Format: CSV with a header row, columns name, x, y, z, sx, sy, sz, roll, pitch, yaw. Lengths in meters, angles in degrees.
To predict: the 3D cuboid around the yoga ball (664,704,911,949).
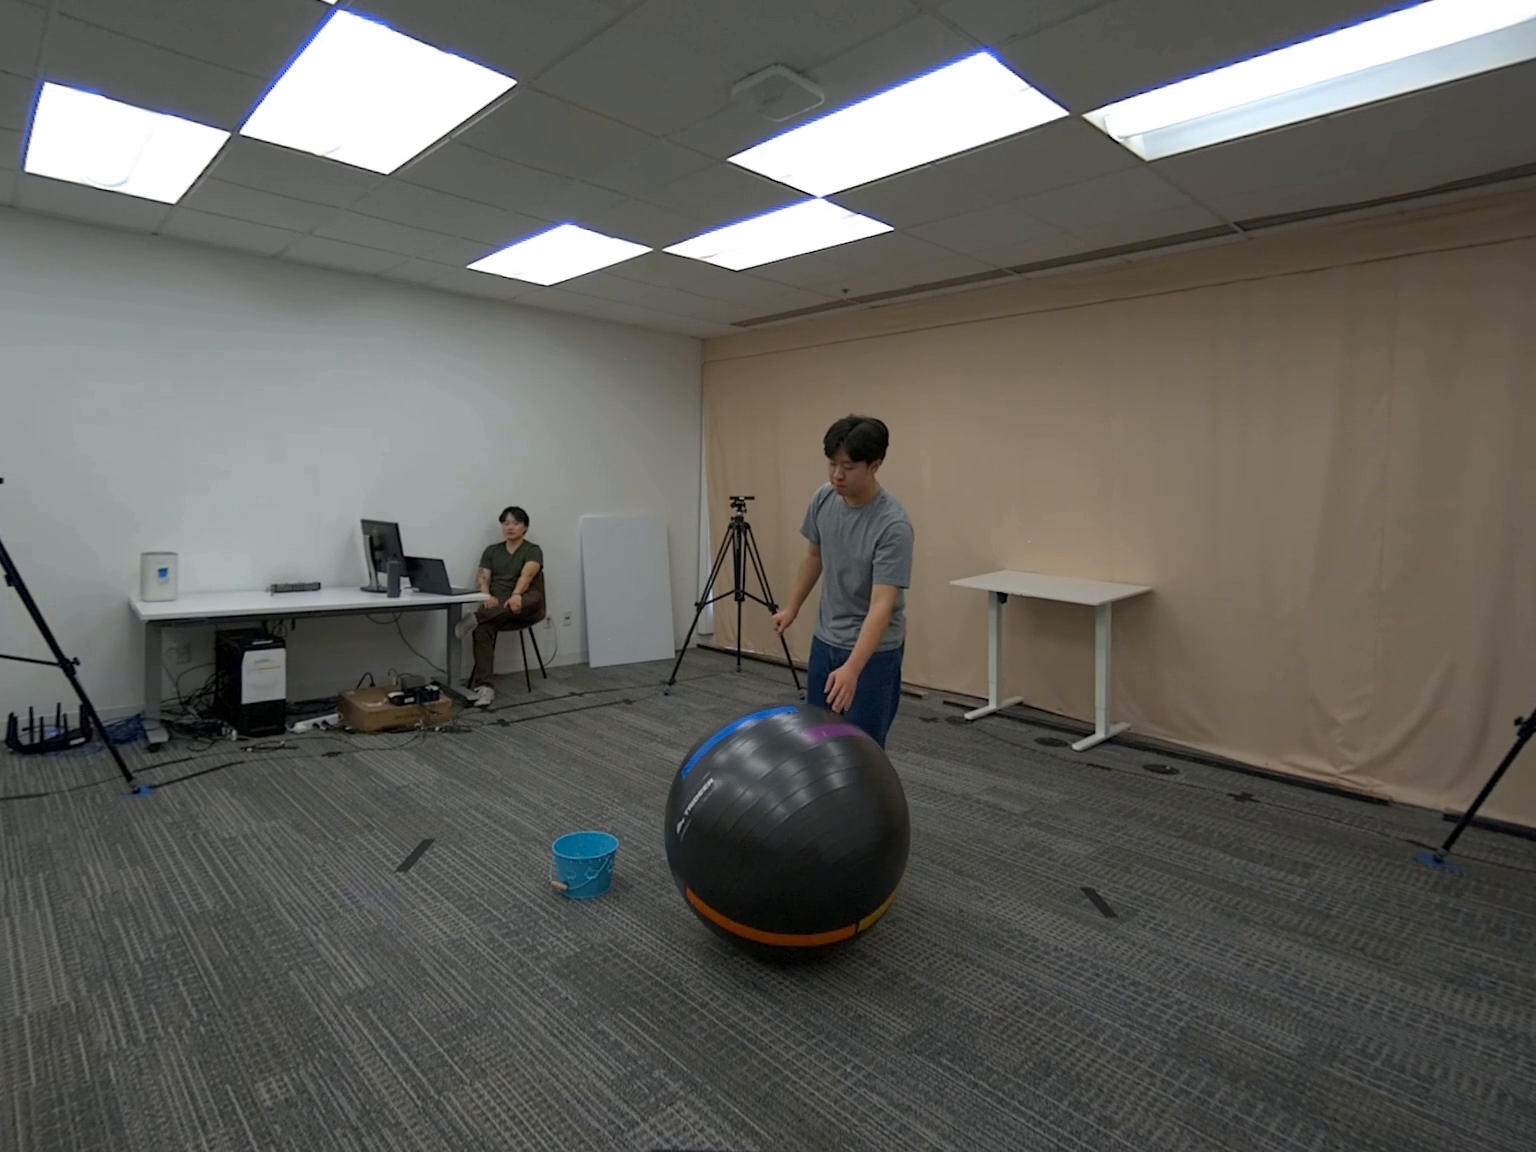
name,x,y,z,sx,sy,sz,roll,pitch,yaw
yoga ball,0.059,0.782,2.623,0.757,0.756,0.761,1,4,-1
